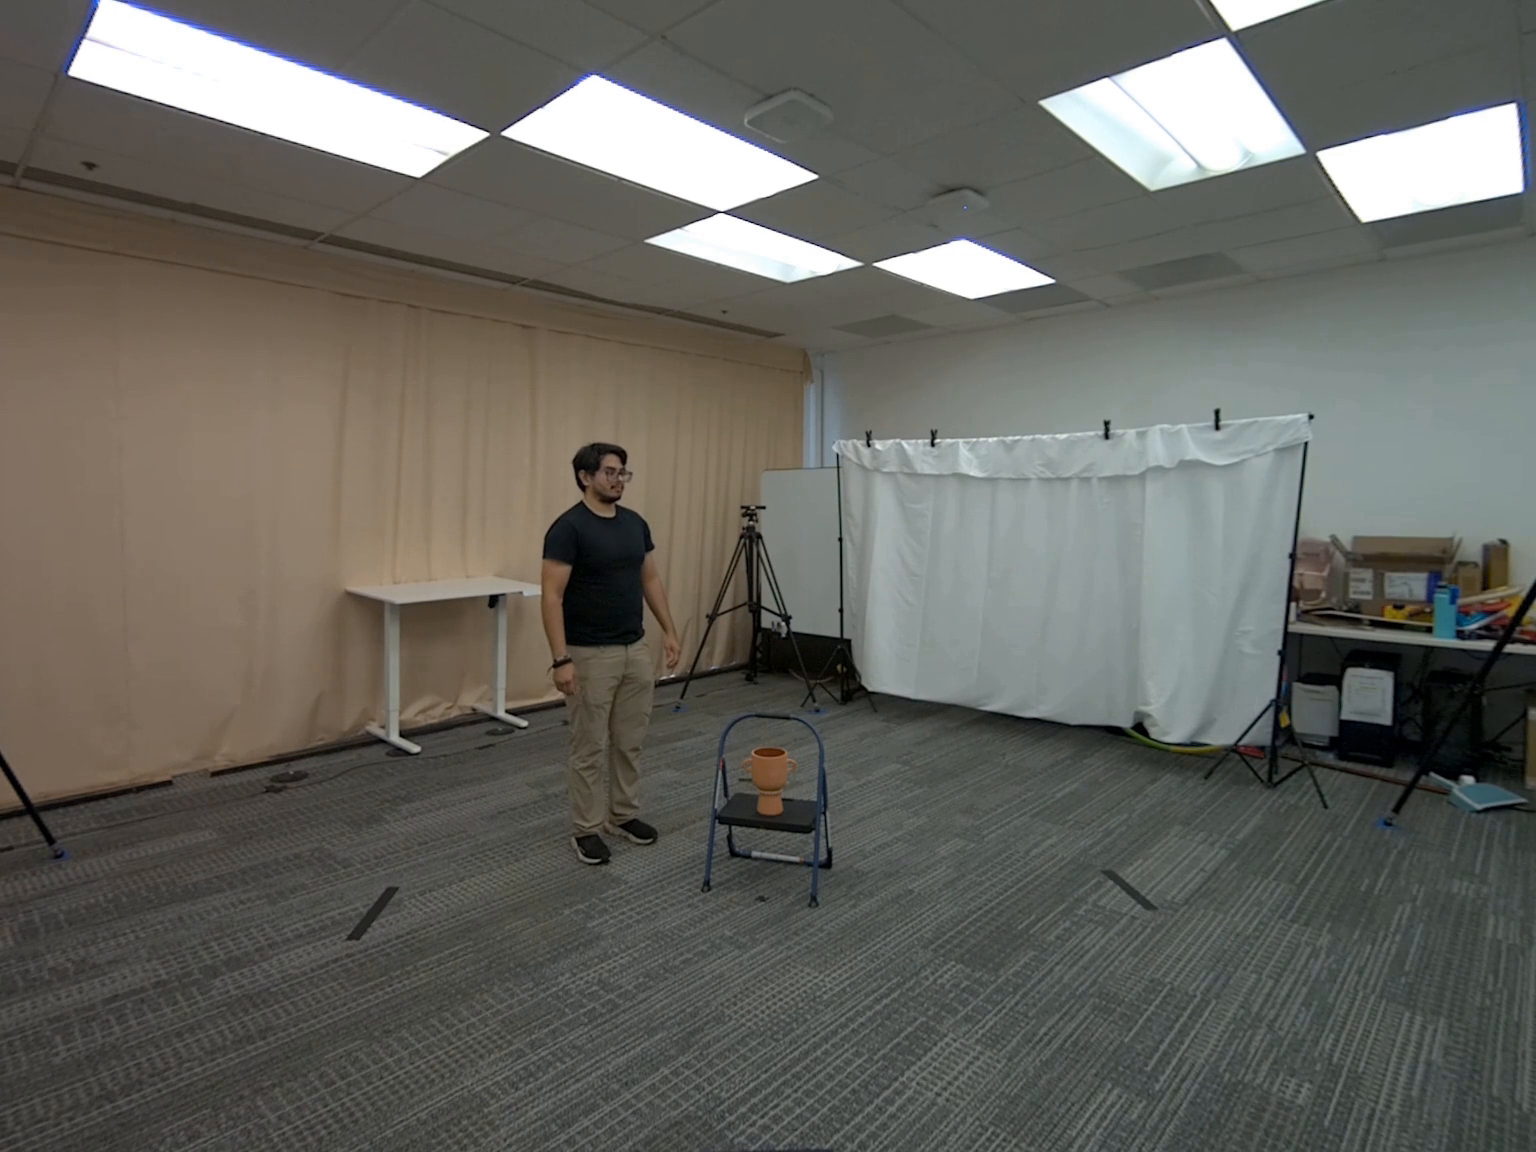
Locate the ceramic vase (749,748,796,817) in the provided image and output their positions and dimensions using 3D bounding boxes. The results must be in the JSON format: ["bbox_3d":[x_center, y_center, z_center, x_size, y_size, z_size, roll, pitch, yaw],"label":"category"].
[{"bbox_3d":[0.008,0.762,3.111,0.164,0.219,0.130,3,6,41],"label":"ceramic vase"}]
